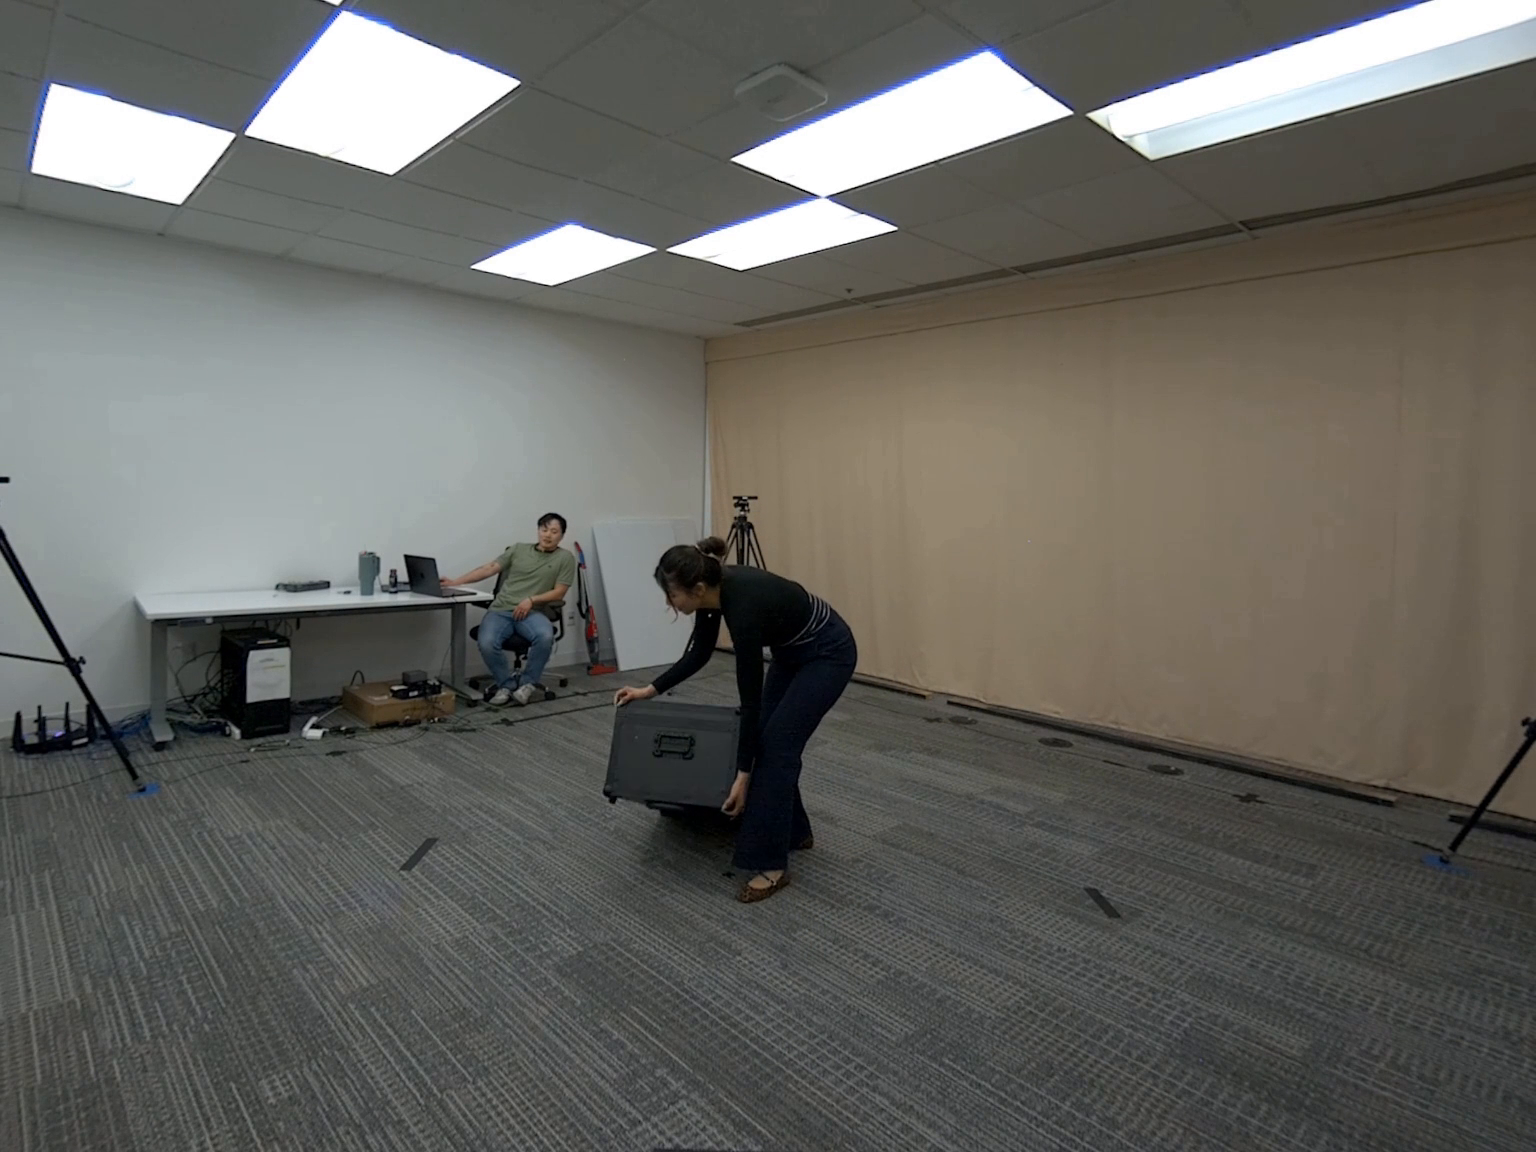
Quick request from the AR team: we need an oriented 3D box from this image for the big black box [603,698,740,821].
[{"bbox_3d":[-0.270,0.767,3.418,0.527,0.400,0.843,3,-16,12],"label":"big black box"}]
